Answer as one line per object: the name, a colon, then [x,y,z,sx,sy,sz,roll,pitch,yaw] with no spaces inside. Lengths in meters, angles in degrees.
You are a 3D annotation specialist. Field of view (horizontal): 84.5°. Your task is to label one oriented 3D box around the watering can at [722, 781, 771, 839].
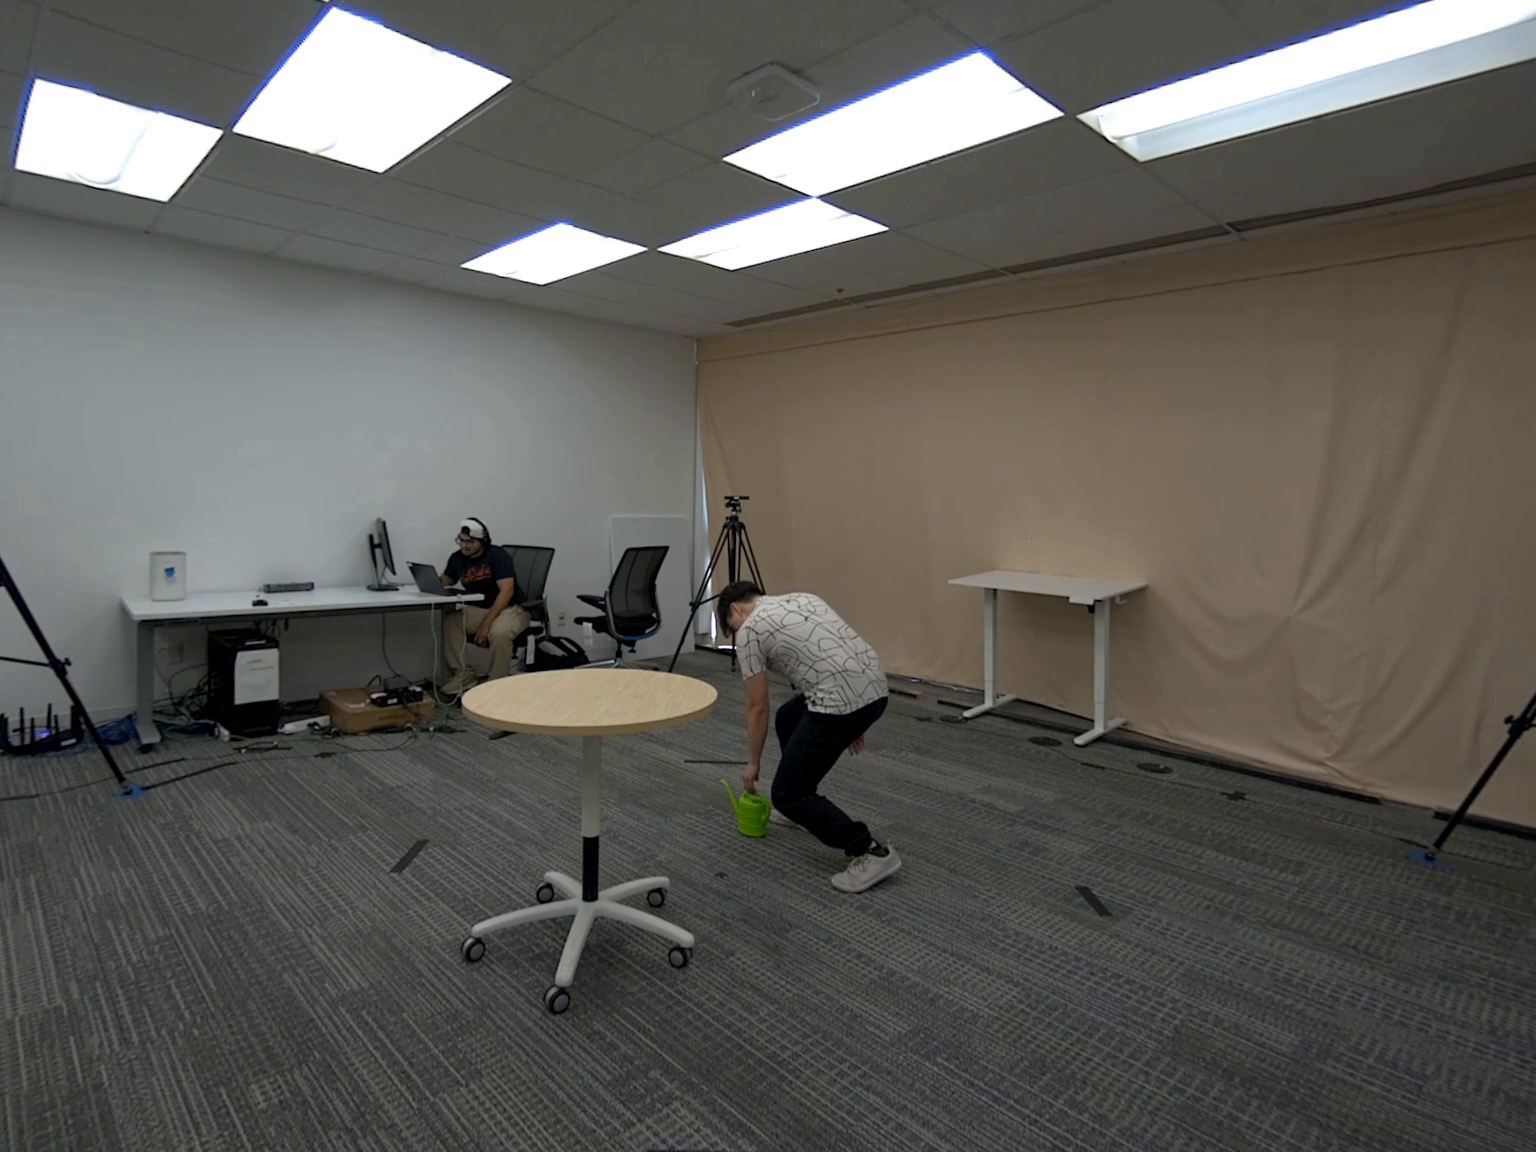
watering can: [-0.095,0.974,3.544,0.096,0.176,0.285,1,6,-34]
